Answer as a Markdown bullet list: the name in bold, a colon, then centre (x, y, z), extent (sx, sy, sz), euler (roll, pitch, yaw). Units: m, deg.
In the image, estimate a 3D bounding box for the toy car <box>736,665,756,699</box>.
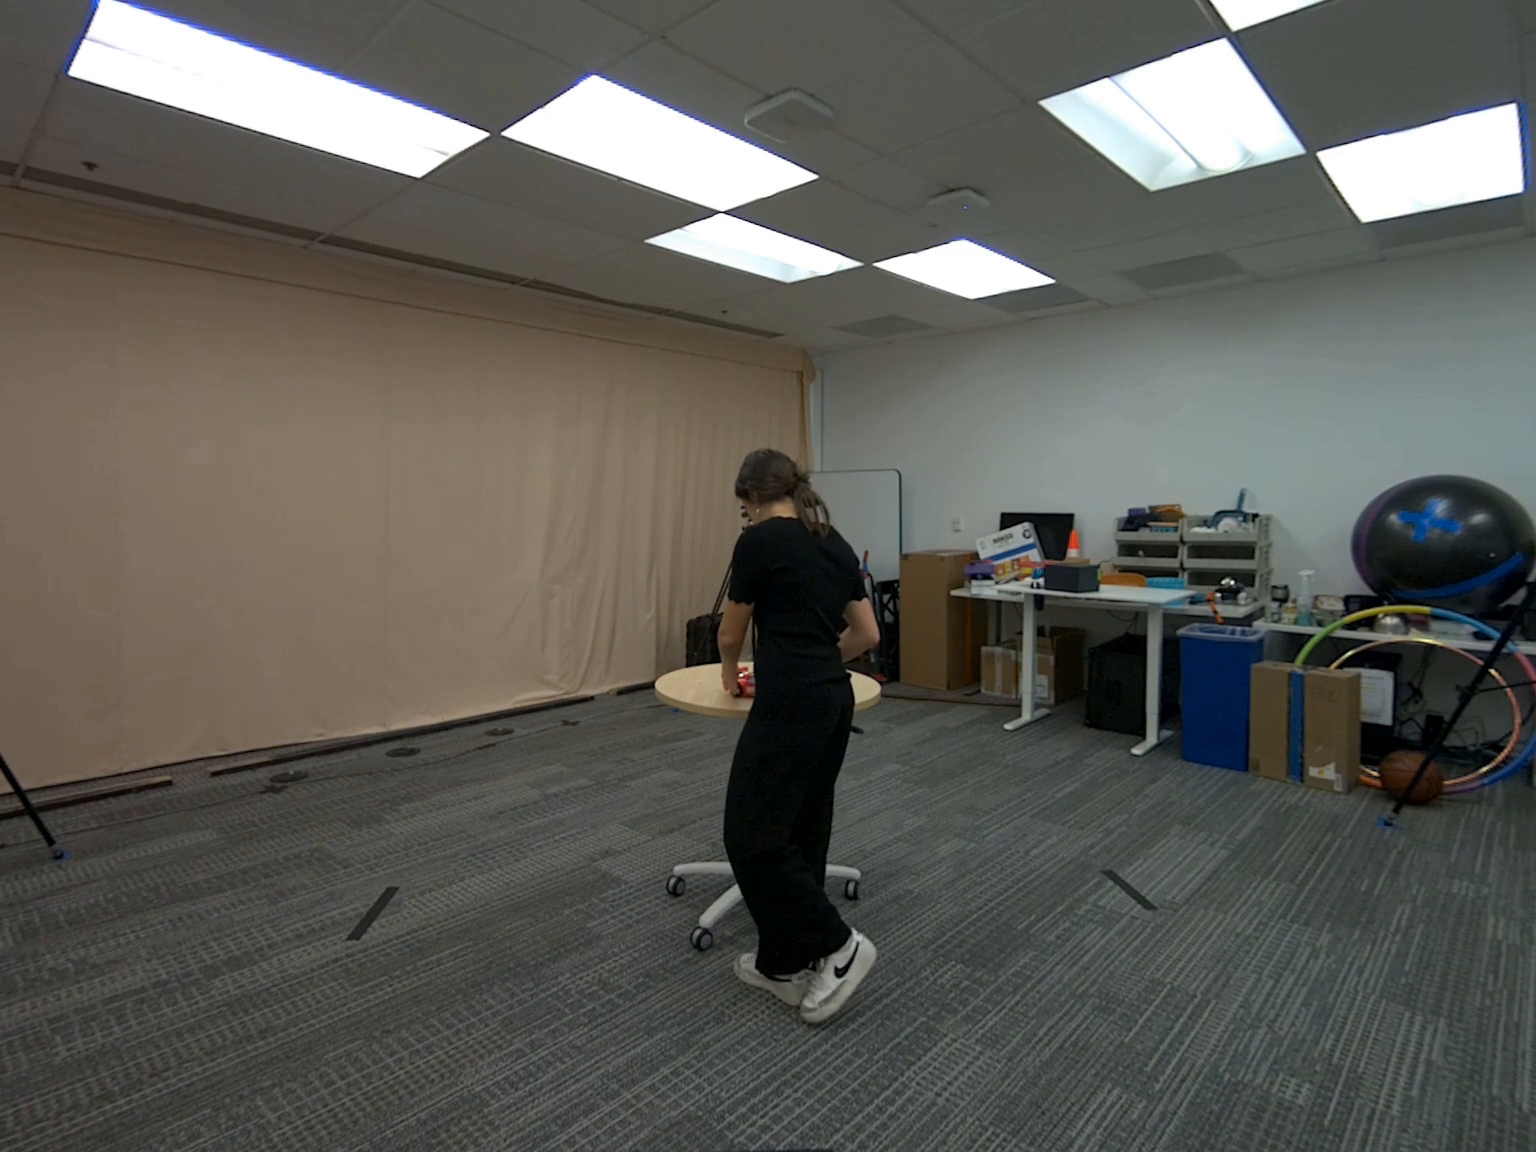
- **toy car**: centre (-0.024, 0.354, 2.692), extent (0.263, 0.083, 0.126), euler (17, 13, 35)
